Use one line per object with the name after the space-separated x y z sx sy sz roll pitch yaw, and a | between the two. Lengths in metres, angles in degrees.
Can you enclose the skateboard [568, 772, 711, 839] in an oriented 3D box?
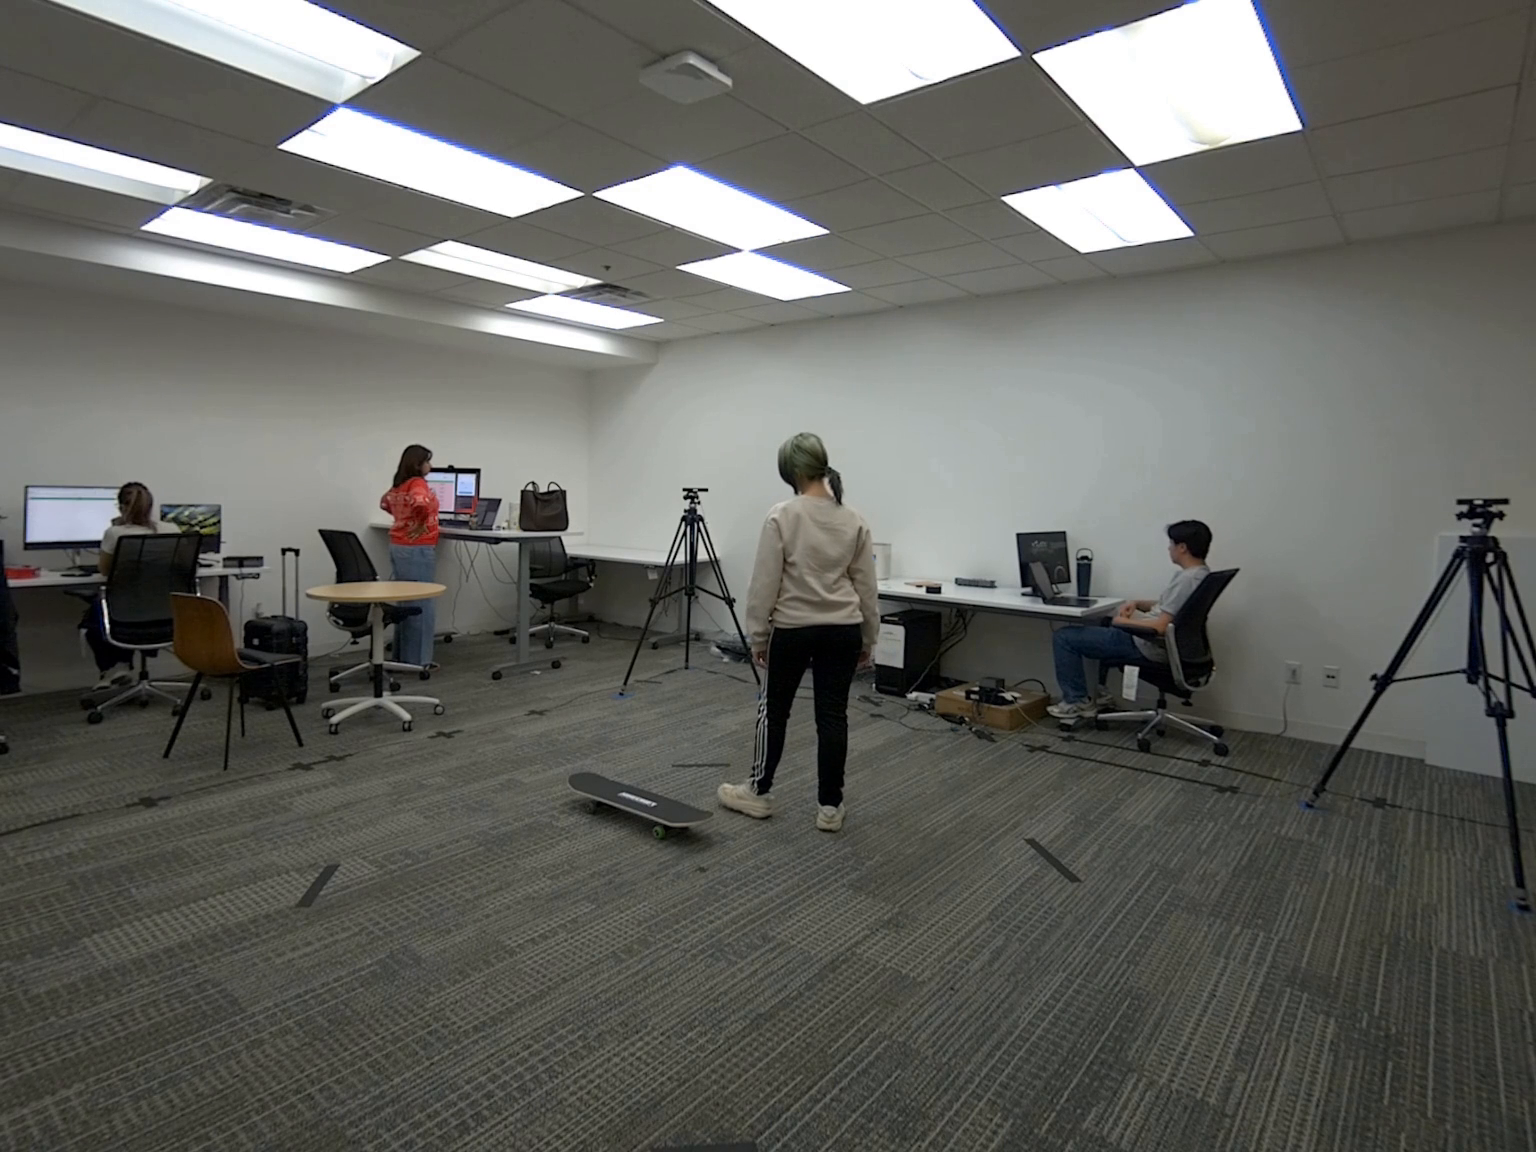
-0.554 0.960 3.555 0.811 0.110 0.188 5 8 37 | skateboard
